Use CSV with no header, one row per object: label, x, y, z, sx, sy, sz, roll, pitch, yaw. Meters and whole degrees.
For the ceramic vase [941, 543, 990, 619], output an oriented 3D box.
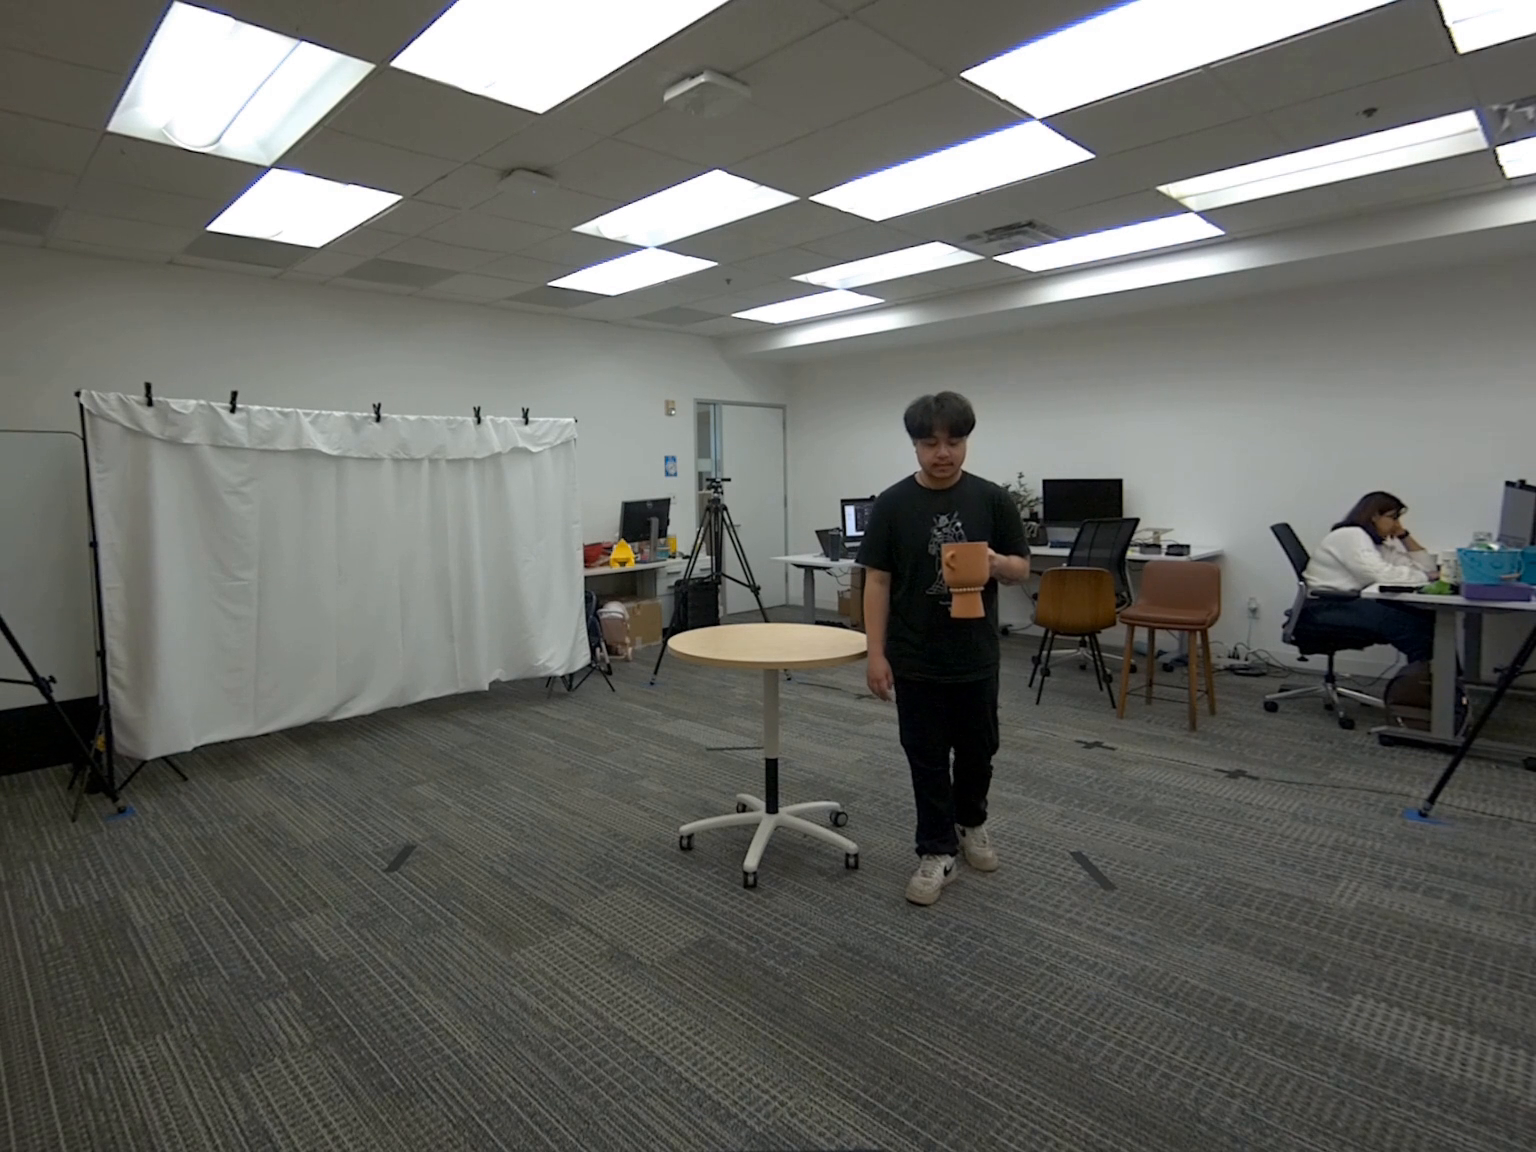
ceramic vase,0.599,0.013,2.555,0.158,0.220,0.135,-3,0,-5
